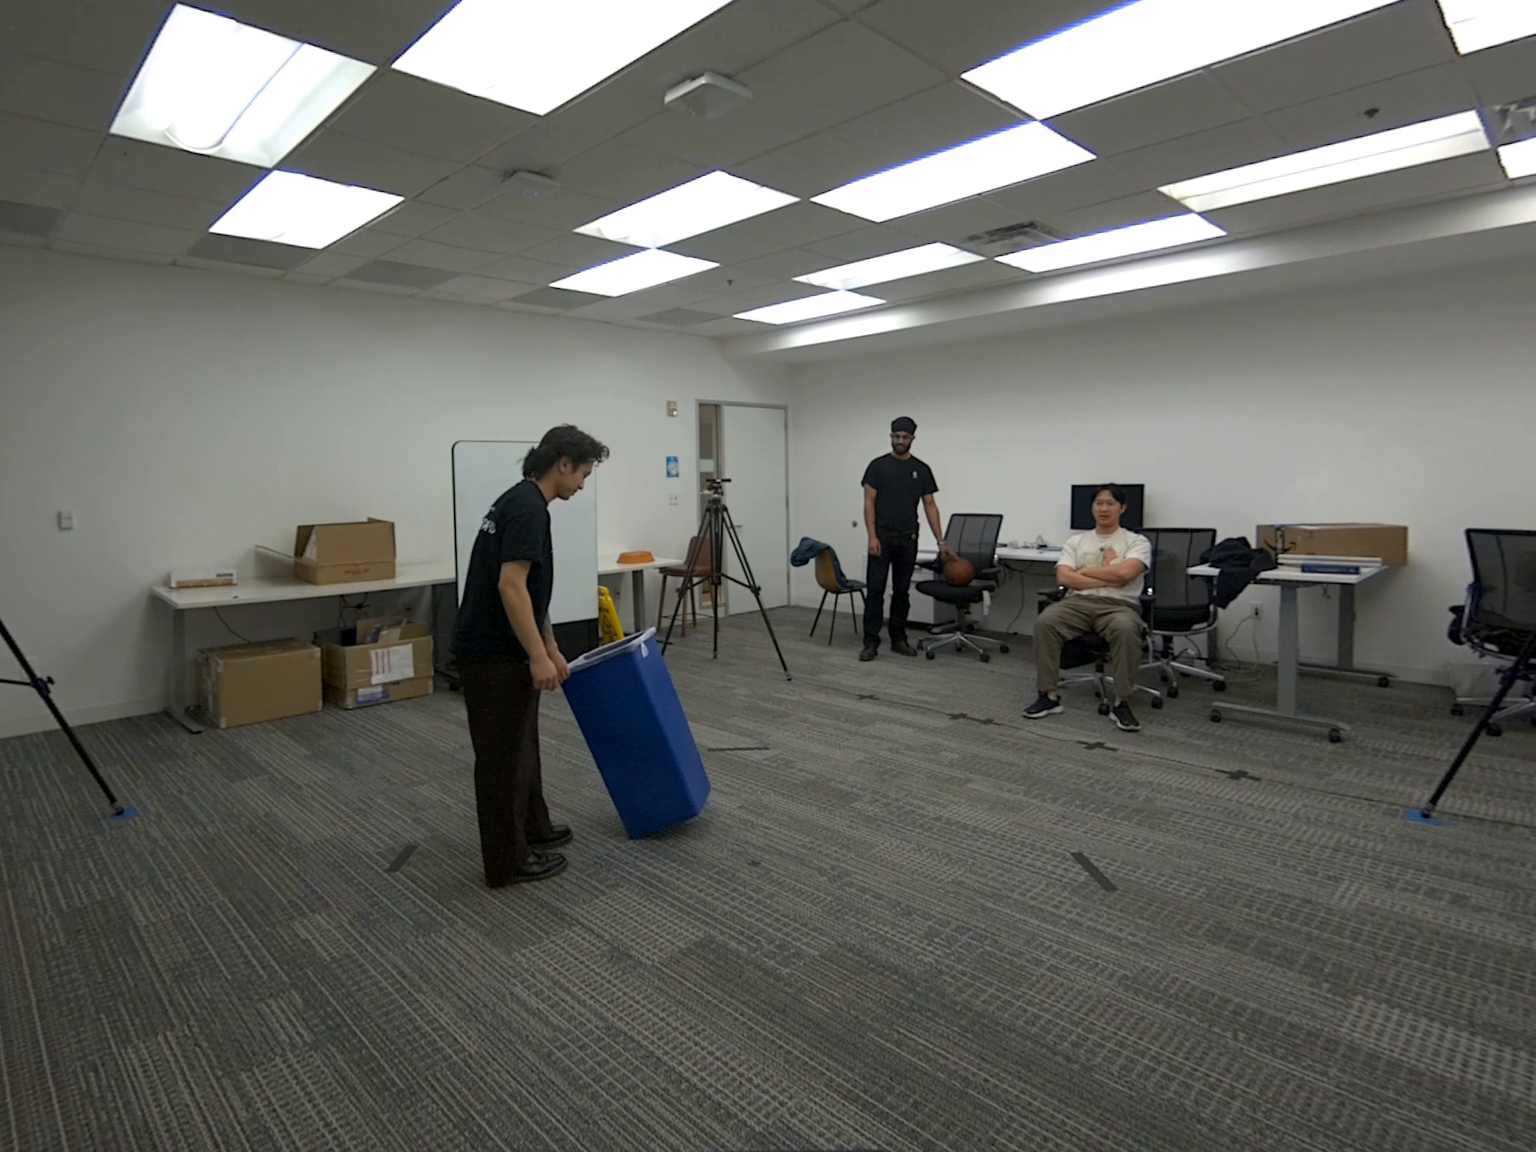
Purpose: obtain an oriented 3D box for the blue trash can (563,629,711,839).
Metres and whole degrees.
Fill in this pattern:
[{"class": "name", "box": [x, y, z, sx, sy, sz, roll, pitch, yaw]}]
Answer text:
[{"class": "blue trash can", "box": [-0.530, 0.632, 3.452, 0.376, 0.714, 0.376, -20, 0, 9]}]
